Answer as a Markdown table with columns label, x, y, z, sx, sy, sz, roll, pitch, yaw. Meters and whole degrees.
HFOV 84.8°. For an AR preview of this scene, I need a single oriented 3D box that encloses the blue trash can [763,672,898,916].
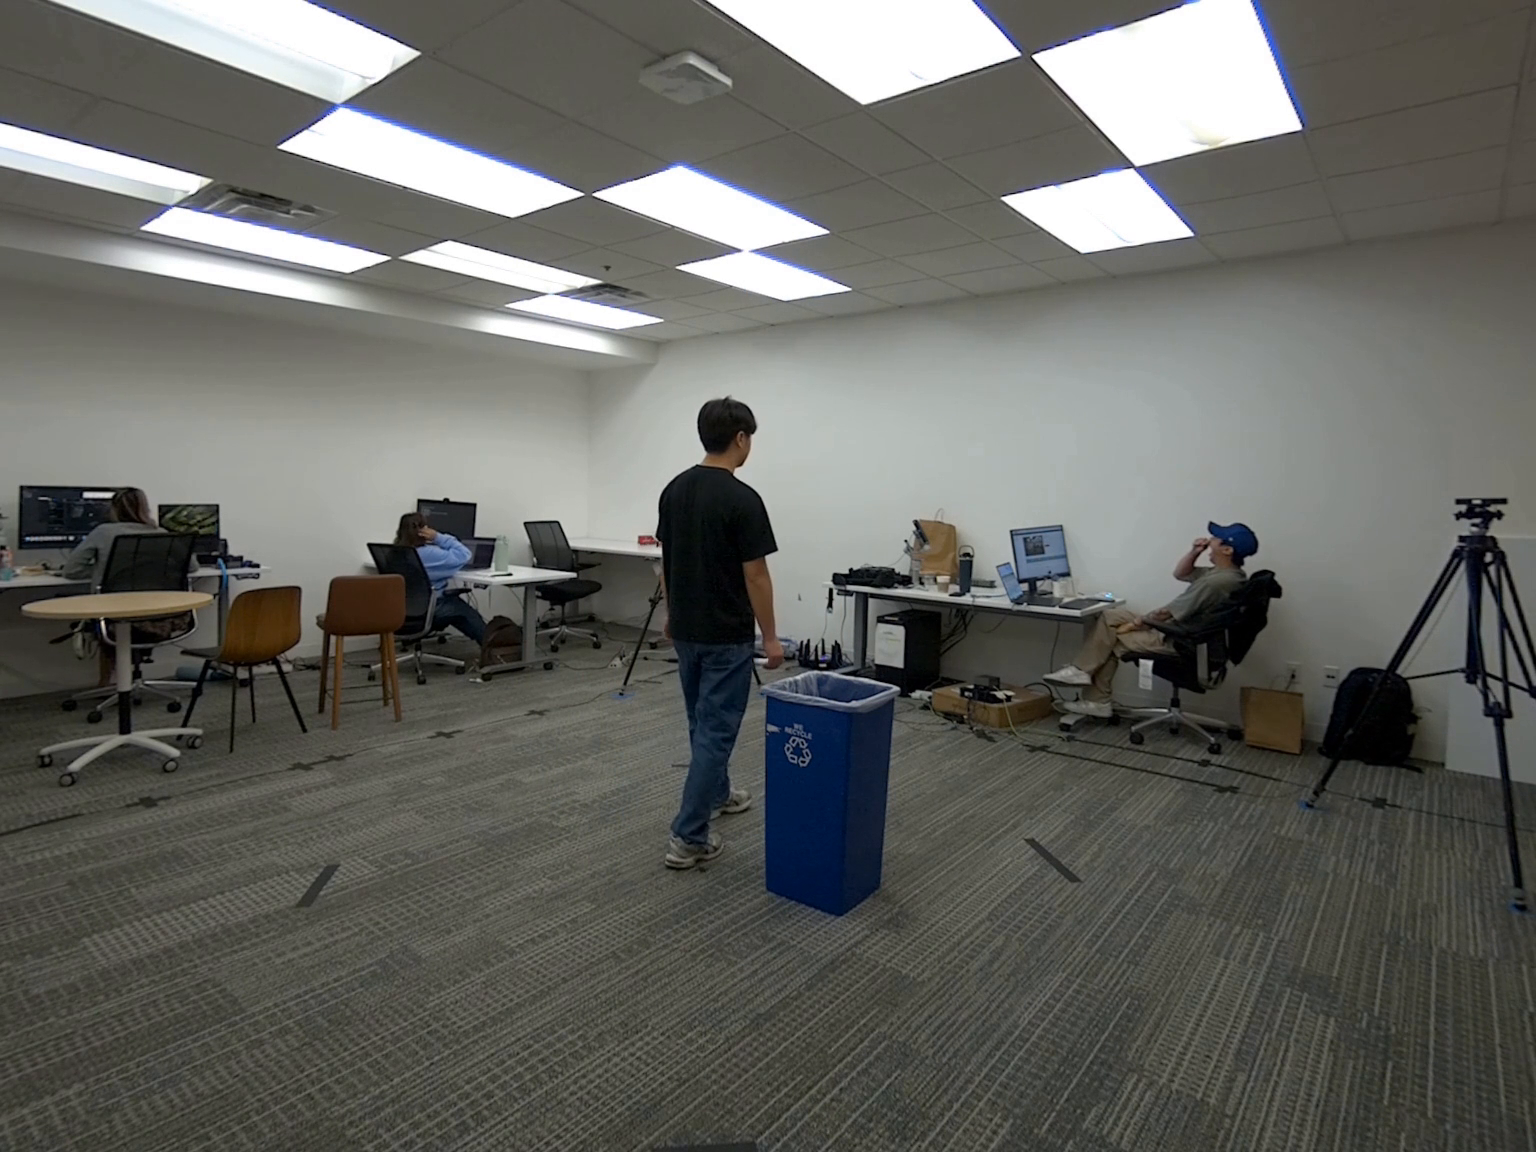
| label | x | y | z | sx | sy | sz | roll | pitch | yaw |
| --- | --- | --- | --- | --- | --- | --- | --- | --- | --- |
| blue trash can | 0.205 | 0.733 | 2.966 | 0.386 | 0.711 | 0.367 | 3 | 4 | 34 |
